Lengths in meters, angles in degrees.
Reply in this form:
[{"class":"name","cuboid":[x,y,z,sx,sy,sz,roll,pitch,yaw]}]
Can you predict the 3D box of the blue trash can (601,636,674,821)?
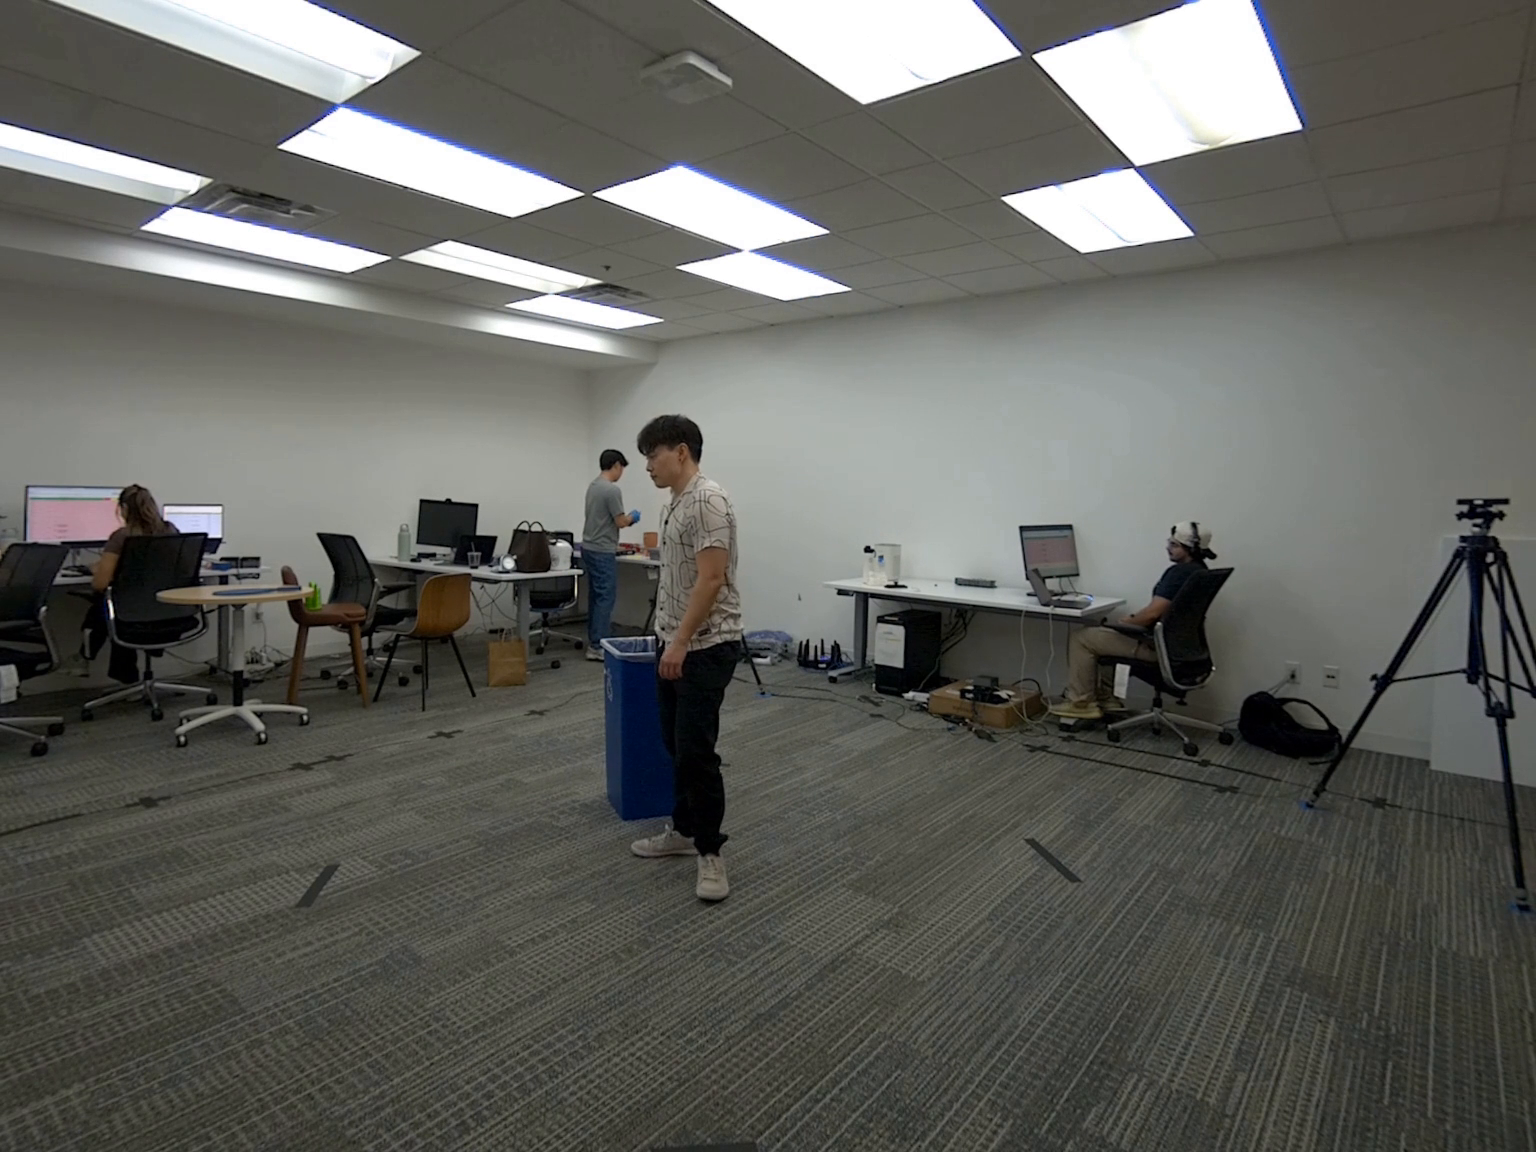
[{"class":"blue trash can","cuboid":[-0.530,0.649,3.717,0.370,0.711,0.383,-1,3,-22]}]
